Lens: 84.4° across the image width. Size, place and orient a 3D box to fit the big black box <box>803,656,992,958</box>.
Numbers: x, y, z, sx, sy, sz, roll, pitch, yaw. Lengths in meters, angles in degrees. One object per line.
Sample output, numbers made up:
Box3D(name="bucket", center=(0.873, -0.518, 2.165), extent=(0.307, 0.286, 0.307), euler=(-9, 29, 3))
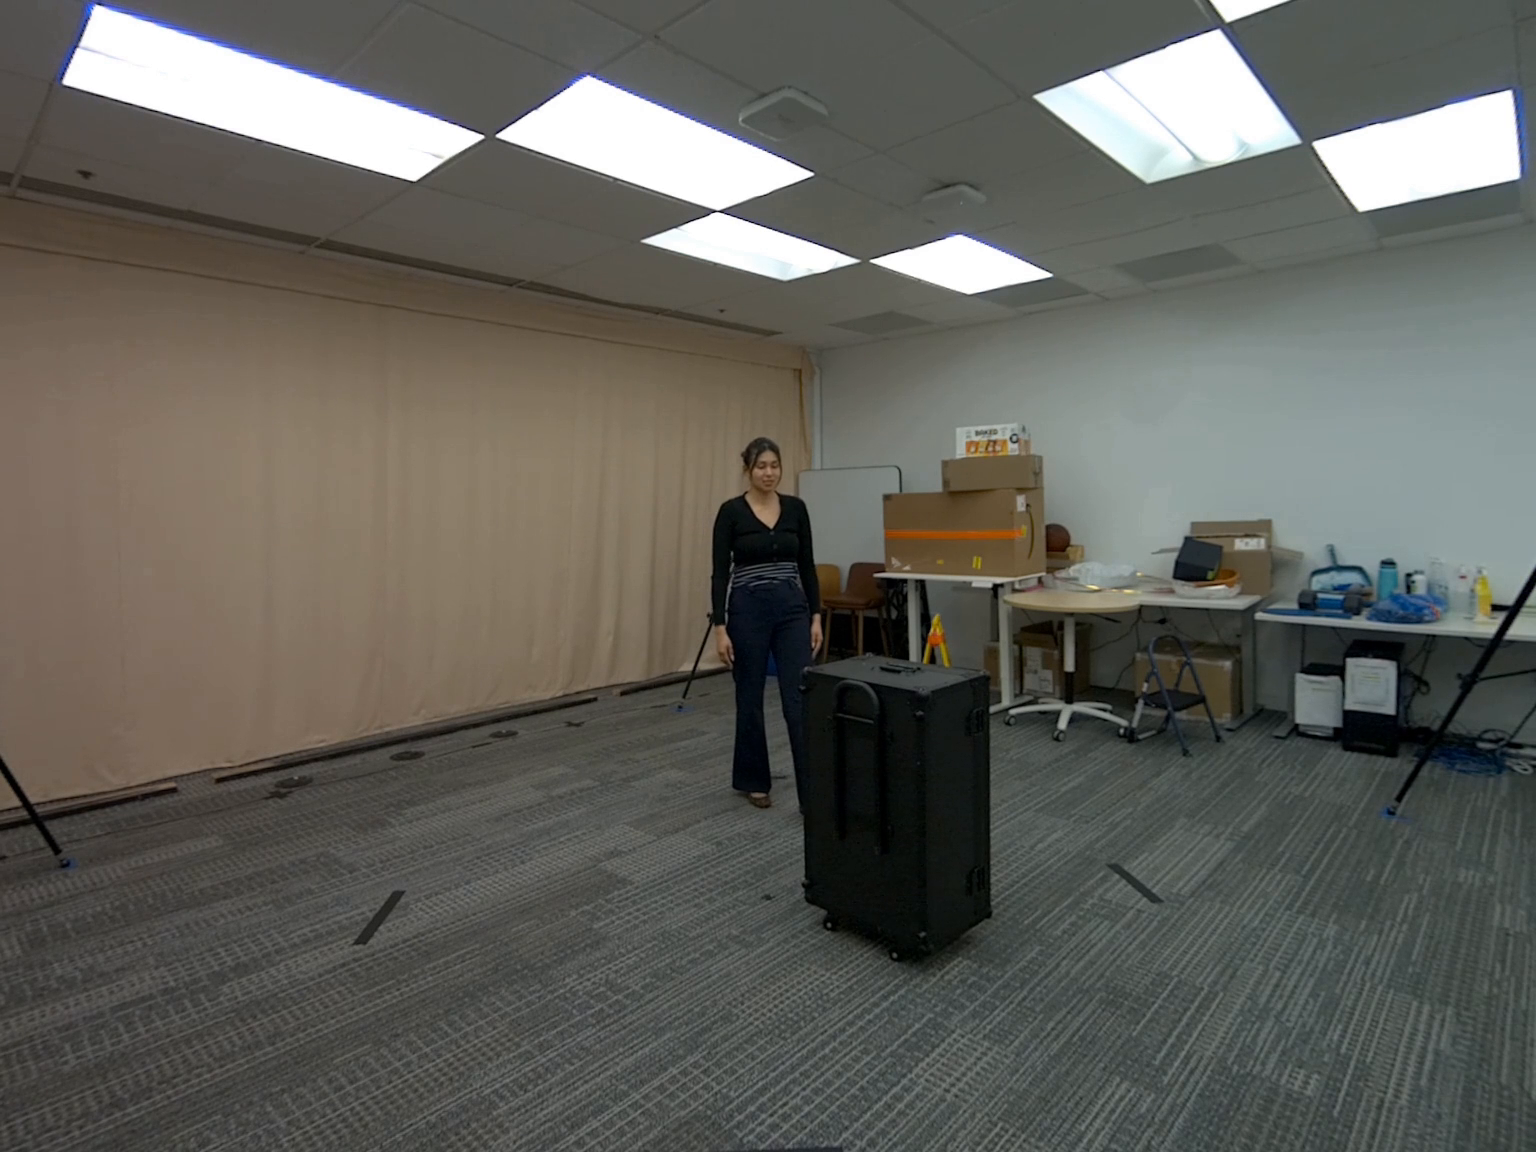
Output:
Box3D(name="big black box", center=(0.414, 0.734, 2.703), extent=(0.384, 0.859, 0.538), euler=(-5, 5, -44))
